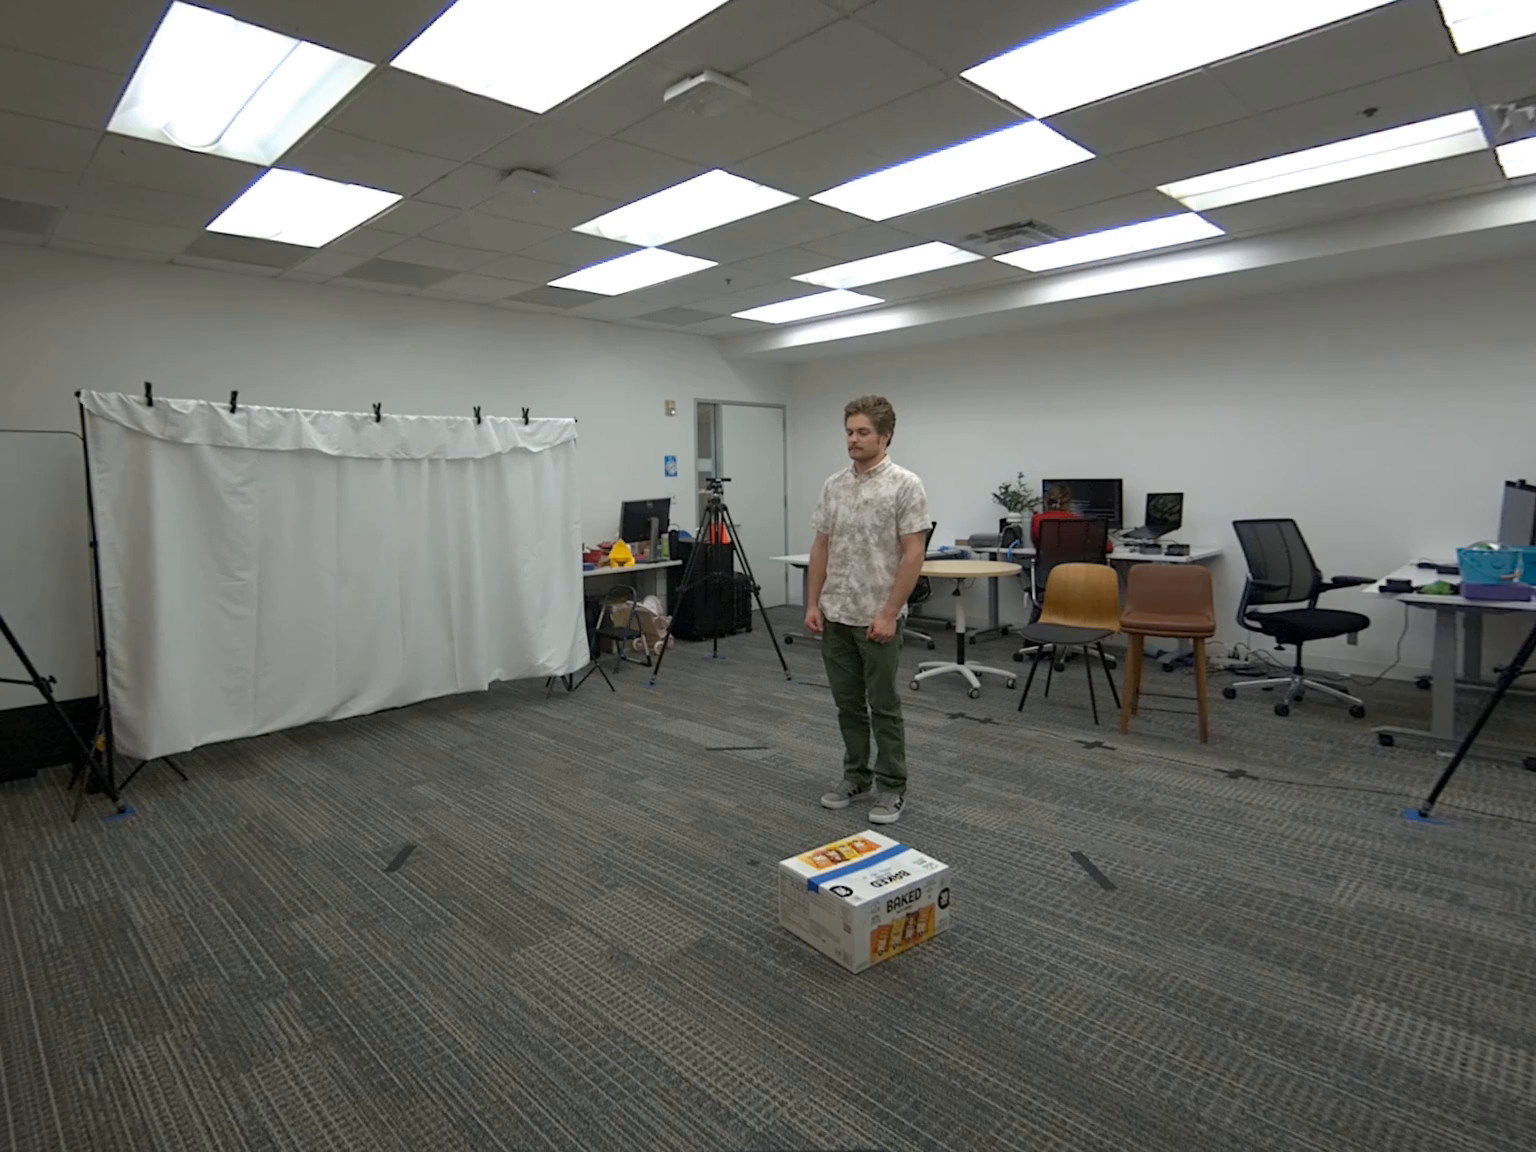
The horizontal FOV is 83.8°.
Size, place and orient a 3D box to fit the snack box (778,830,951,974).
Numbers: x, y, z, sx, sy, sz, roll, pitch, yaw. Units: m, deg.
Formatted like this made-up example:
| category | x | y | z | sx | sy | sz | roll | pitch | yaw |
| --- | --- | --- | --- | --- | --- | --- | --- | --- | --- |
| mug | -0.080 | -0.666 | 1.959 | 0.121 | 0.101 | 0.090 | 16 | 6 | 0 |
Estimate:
| category | x | y | z | sx | sy | sz | roll | pitch | yaw |
| --- | --- | --- | --- | --- | --- | --- | --- | --- | --- |
| snack box | 0.299 | 0.991 | 2.636 | 0.395 | 0.205 | 0.350 | -6 | 7 | -37 |
